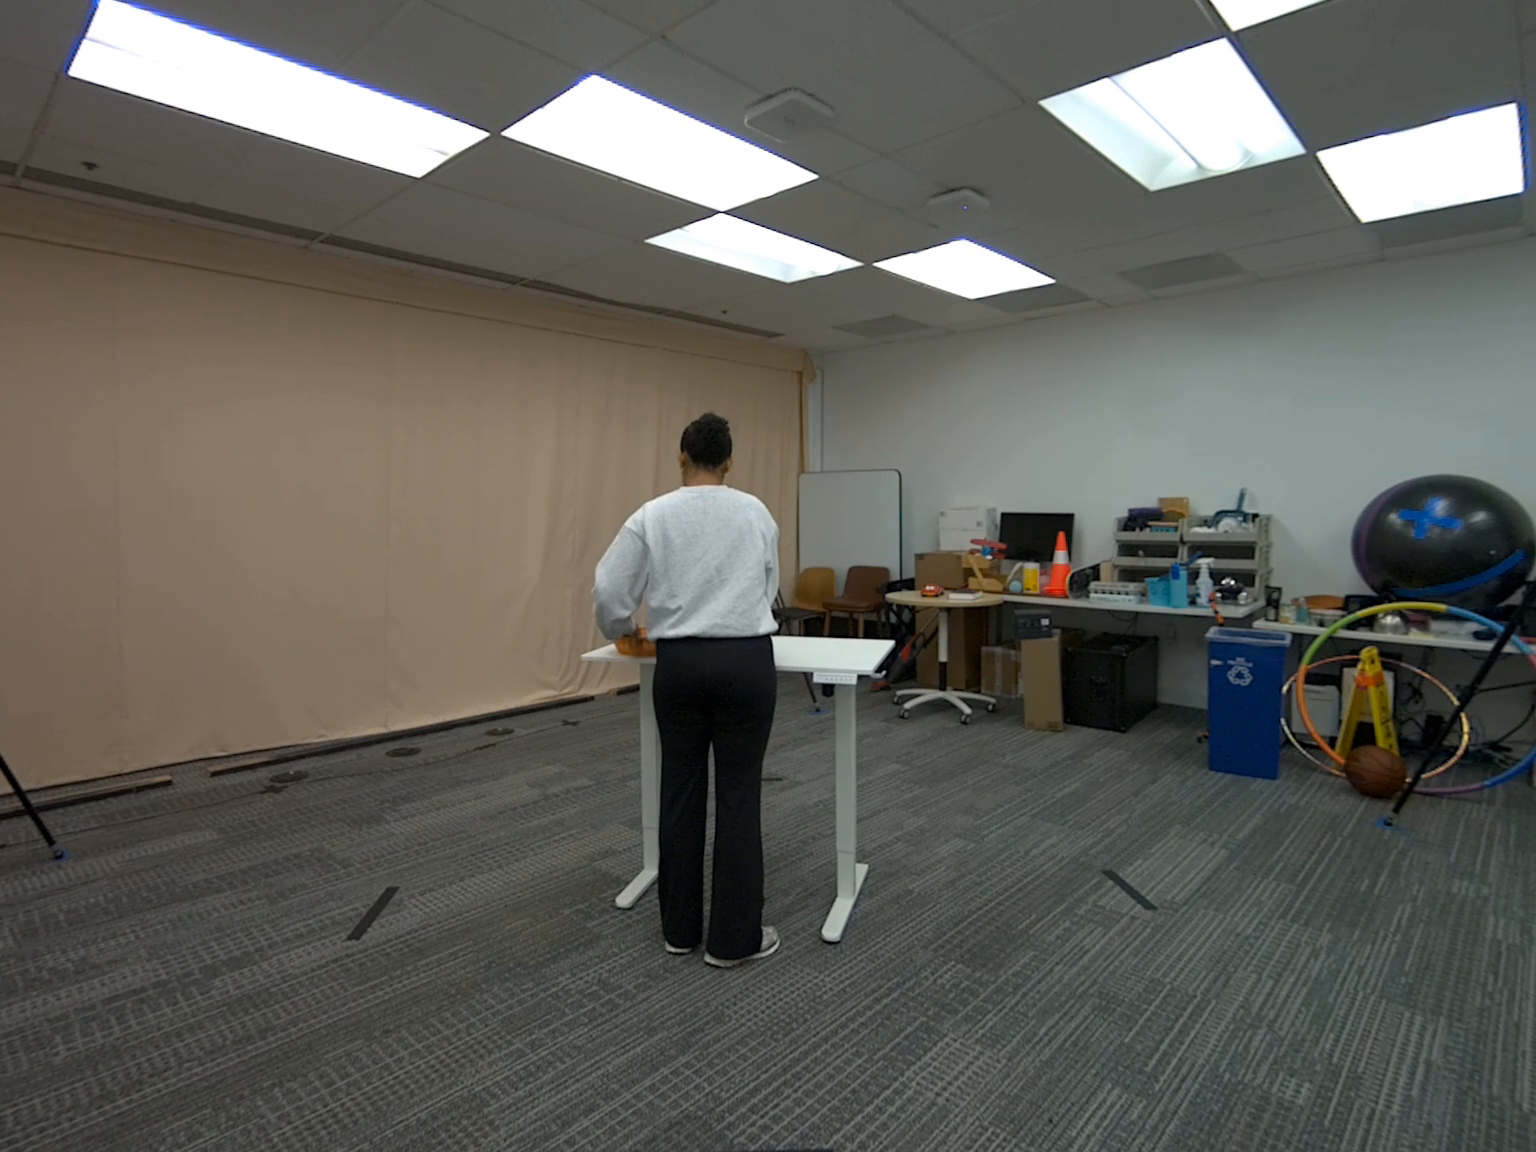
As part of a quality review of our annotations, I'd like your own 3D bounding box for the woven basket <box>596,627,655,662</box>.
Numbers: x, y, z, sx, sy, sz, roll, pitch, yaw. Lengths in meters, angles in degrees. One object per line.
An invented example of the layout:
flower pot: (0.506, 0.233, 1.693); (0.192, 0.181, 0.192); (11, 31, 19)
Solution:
woven basket: (-0.382, 0.236, 2.942); (0.357, 0.073, 0.248); (1, 5, 16)
